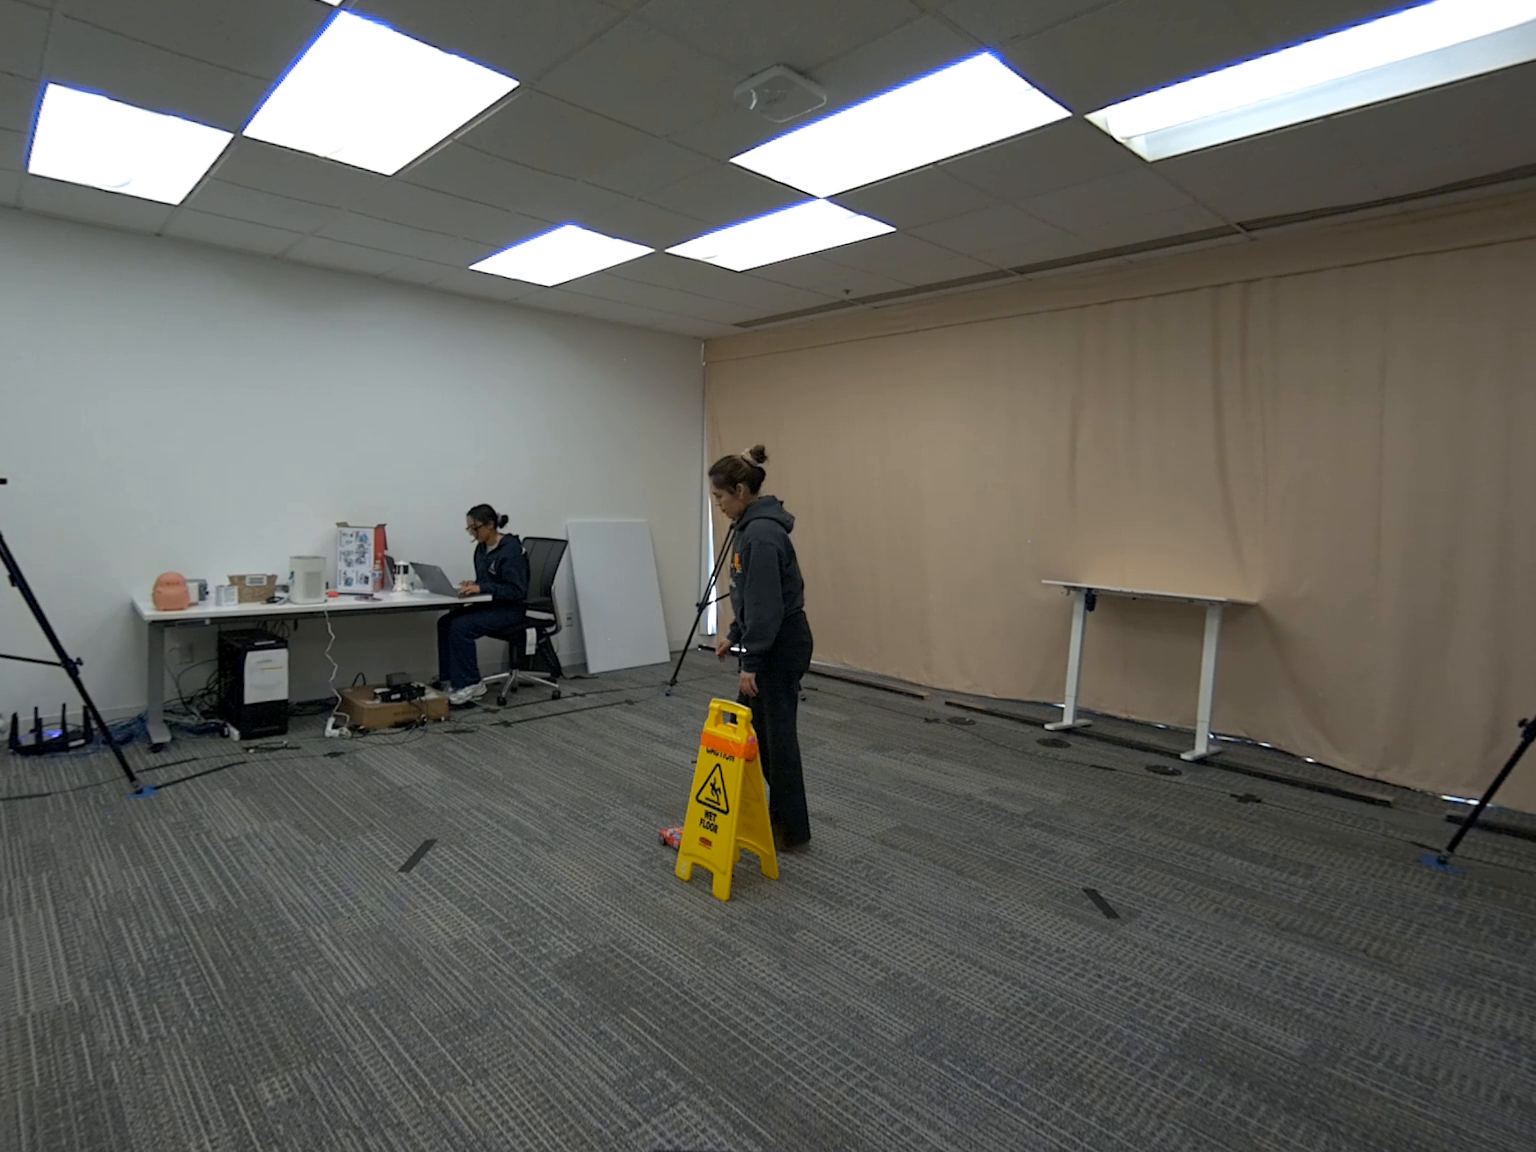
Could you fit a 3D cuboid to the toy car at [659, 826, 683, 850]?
[{"bbox_3d":[-0.336,1.054,3.343,0.127,0.083,0.259,-1,-4,-39],"label":"toy car"}]
